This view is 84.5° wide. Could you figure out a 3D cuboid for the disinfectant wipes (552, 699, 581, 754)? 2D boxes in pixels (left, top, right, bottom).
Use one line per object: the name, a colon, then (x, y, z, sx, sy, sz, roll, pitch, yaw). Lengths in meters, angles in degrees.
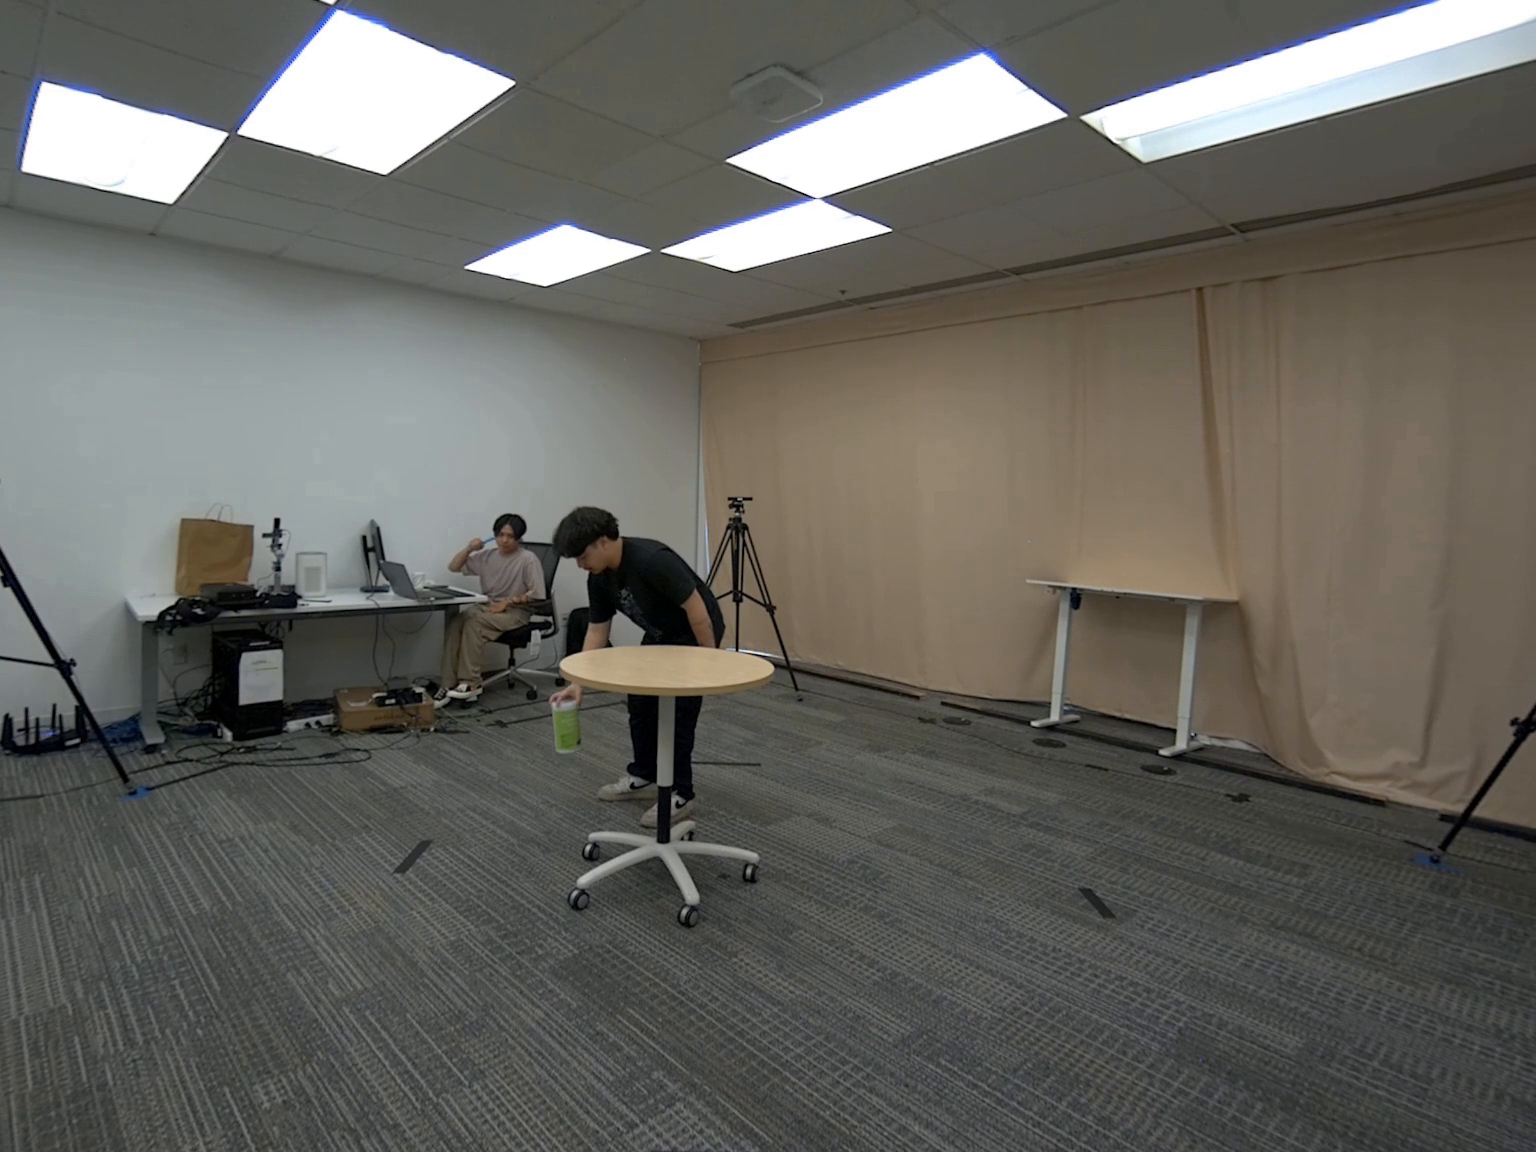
disinfectant wipes: (-0.859, 0.629, 3.565, 0.118, 0.216, 0.118, -3, 5, -1)
